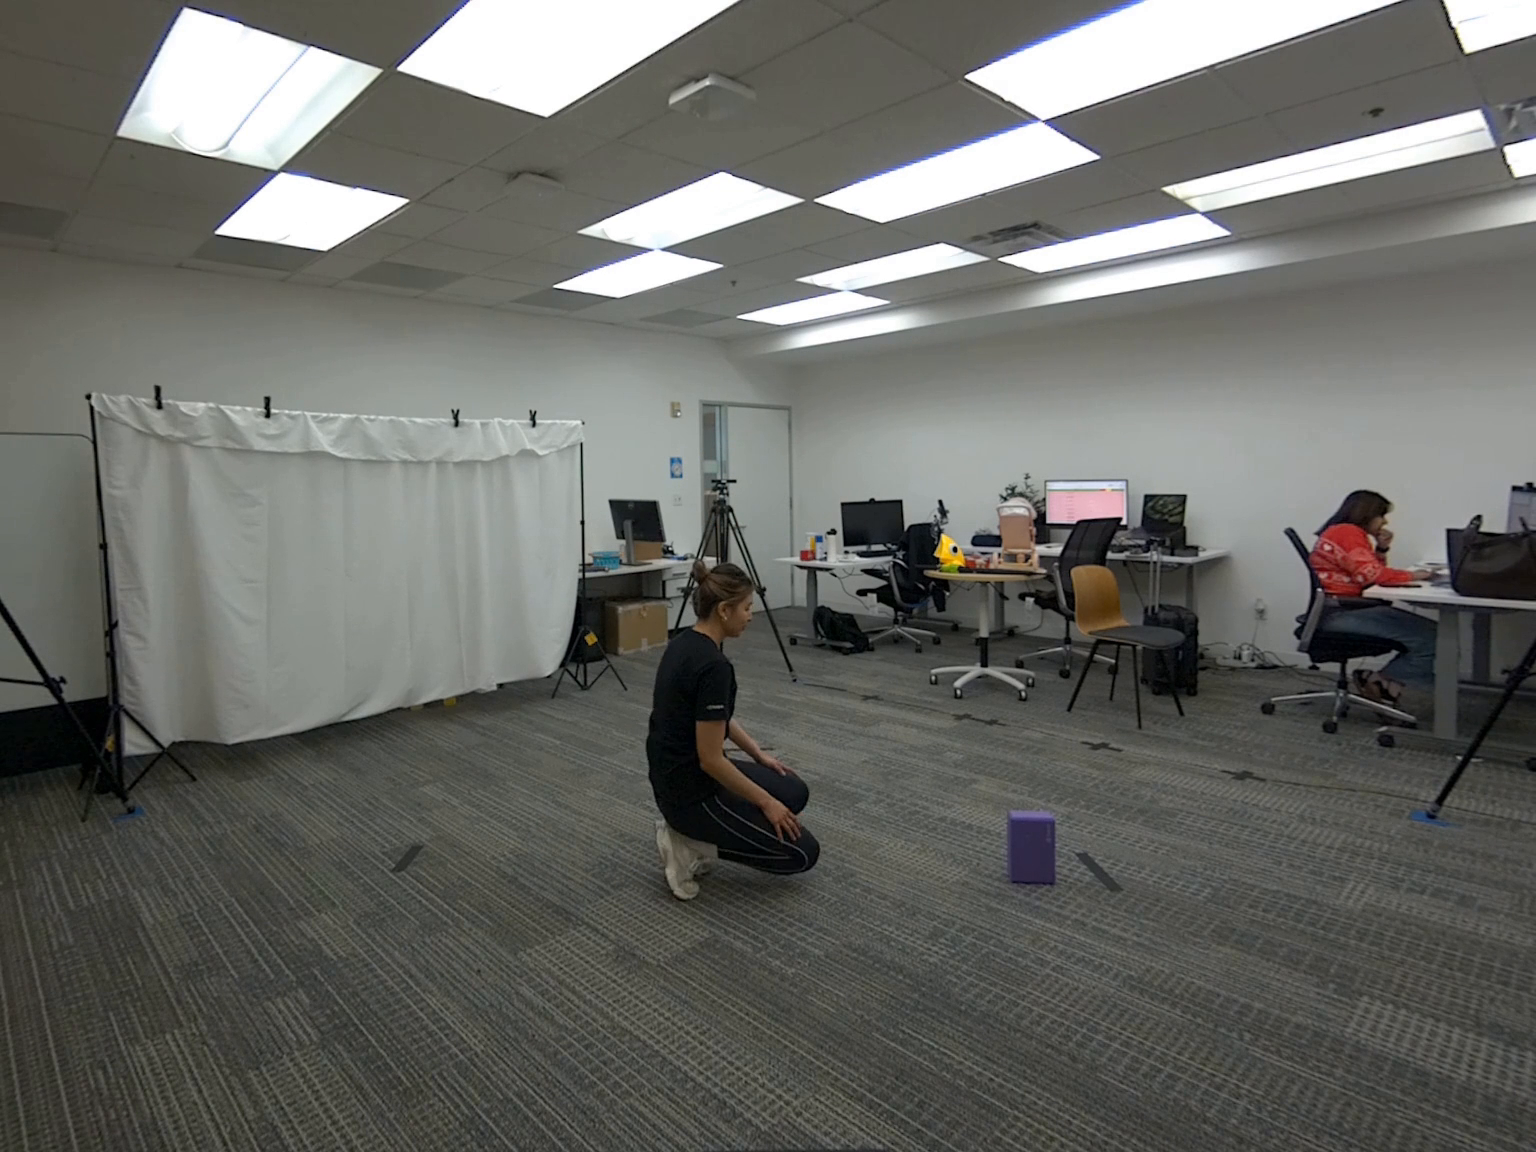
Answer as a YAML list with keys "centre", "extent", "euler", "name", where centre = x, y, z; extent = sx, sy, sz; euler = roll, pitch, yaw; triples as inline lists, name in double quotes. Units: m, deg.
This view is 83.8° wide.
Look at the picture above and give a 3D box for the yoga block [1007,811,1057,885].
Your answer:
- centre: [0.906, 0.930, 2.933]
  extent: [0.150, 0.228, 0.076]
  euler: [0, 4, 8]
  name: "yoga block"
